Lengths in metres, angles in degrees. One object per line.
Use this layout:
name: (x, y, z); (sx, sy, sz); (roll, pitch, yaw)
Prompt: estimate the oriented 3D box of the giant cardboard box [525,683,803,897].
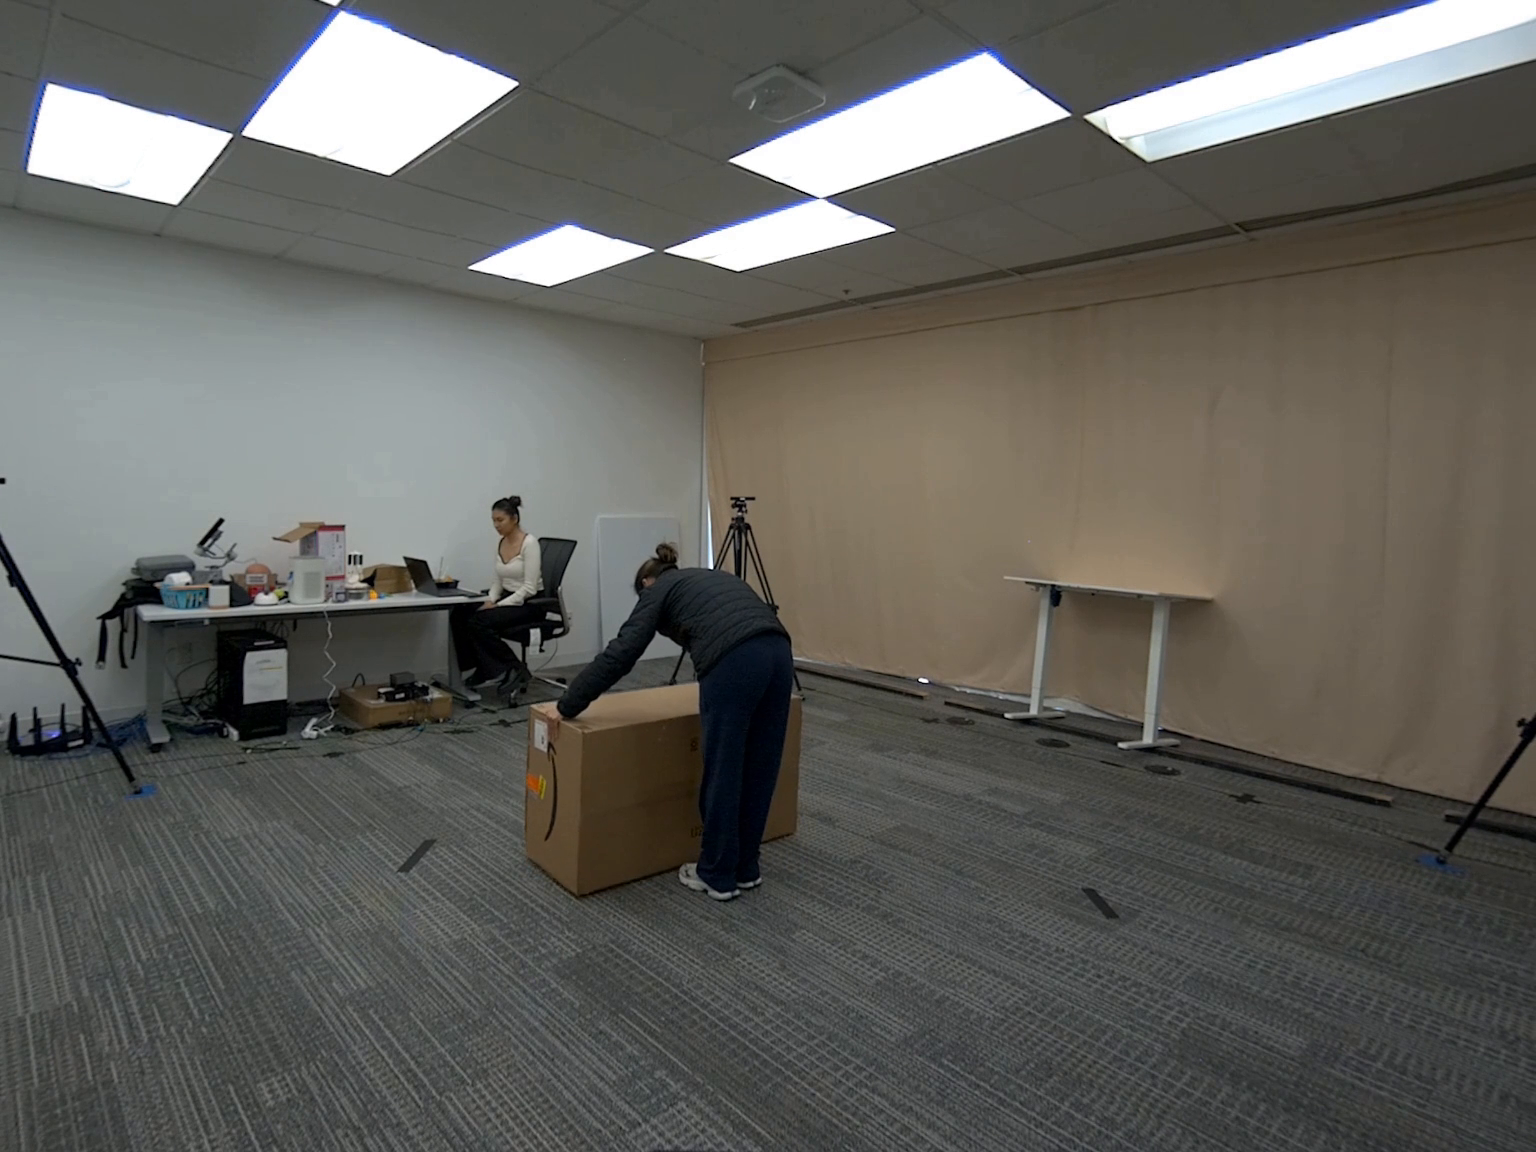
giant cardboard box: (-0.401, 0.772, 3.331); (1.004, 0.582, 0.458); (-1, 6, -39)
